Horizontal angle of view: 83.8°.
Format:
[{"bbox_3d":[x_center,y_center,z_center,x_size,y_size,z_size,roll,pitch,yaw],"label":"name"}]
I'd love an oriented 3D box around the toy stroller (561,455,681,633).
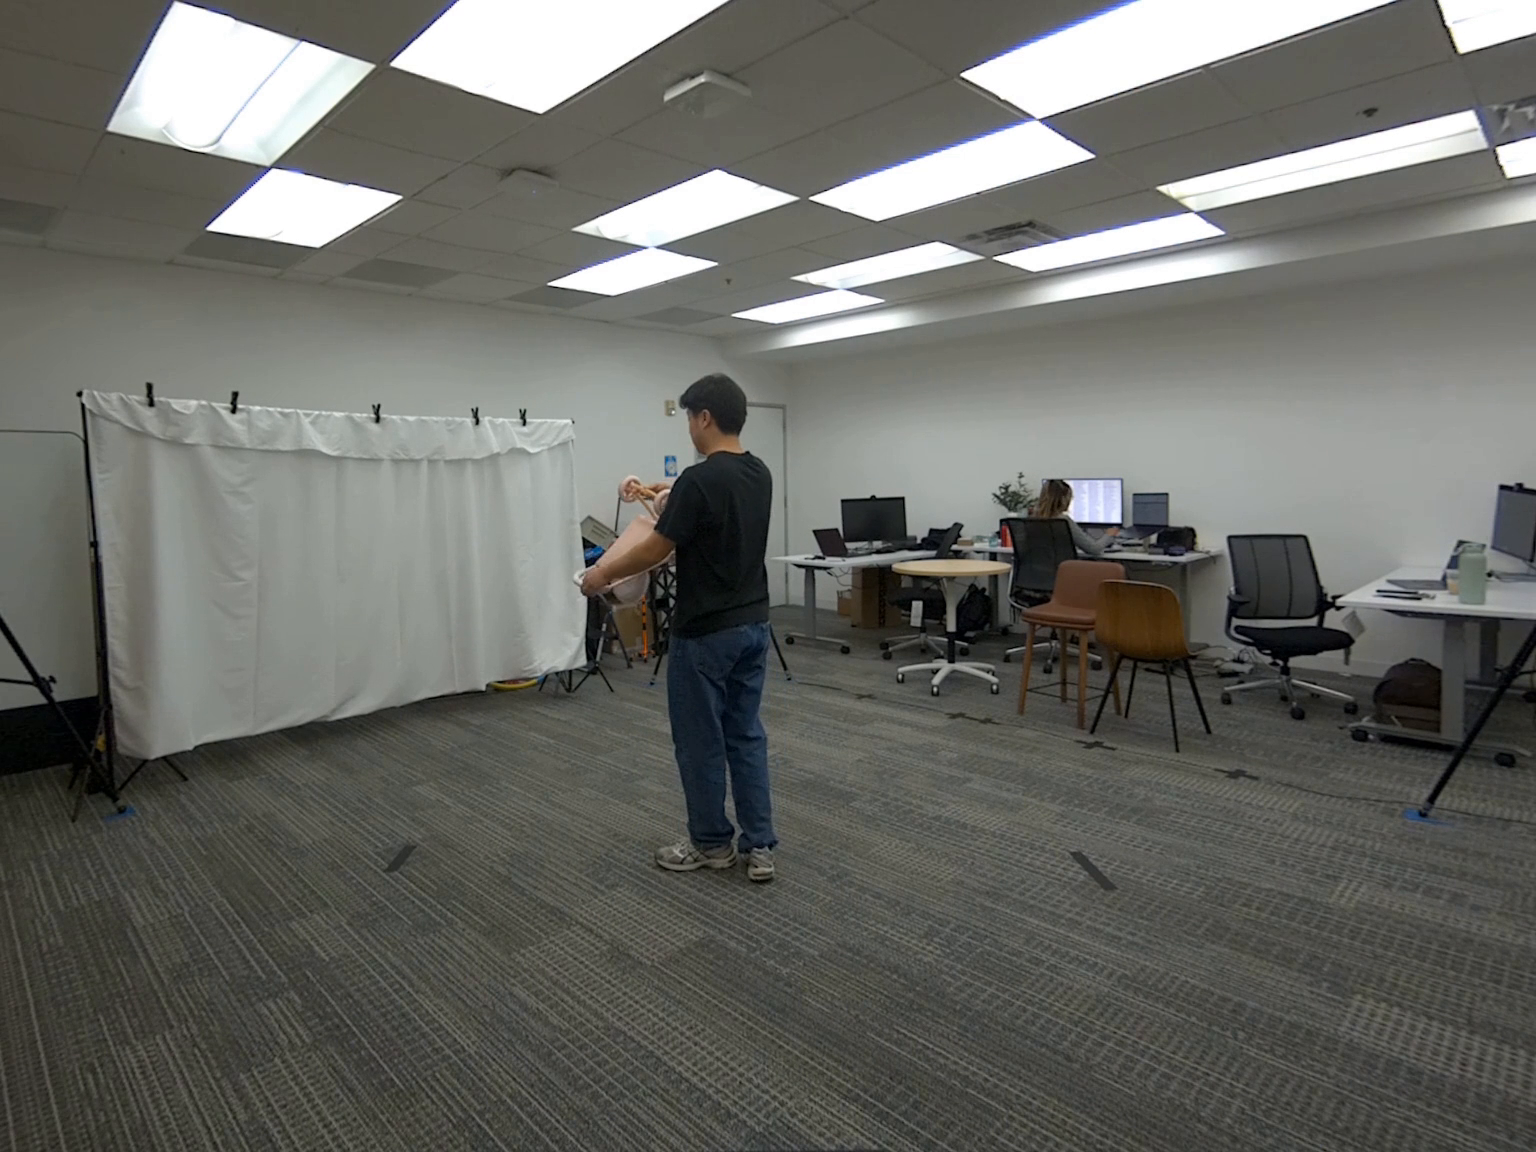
[{"bbox_3d":[-0.469,-0.126,3.319,0.292,0.536,0.328,23,-9,40],"label":"toy stroller"}]
